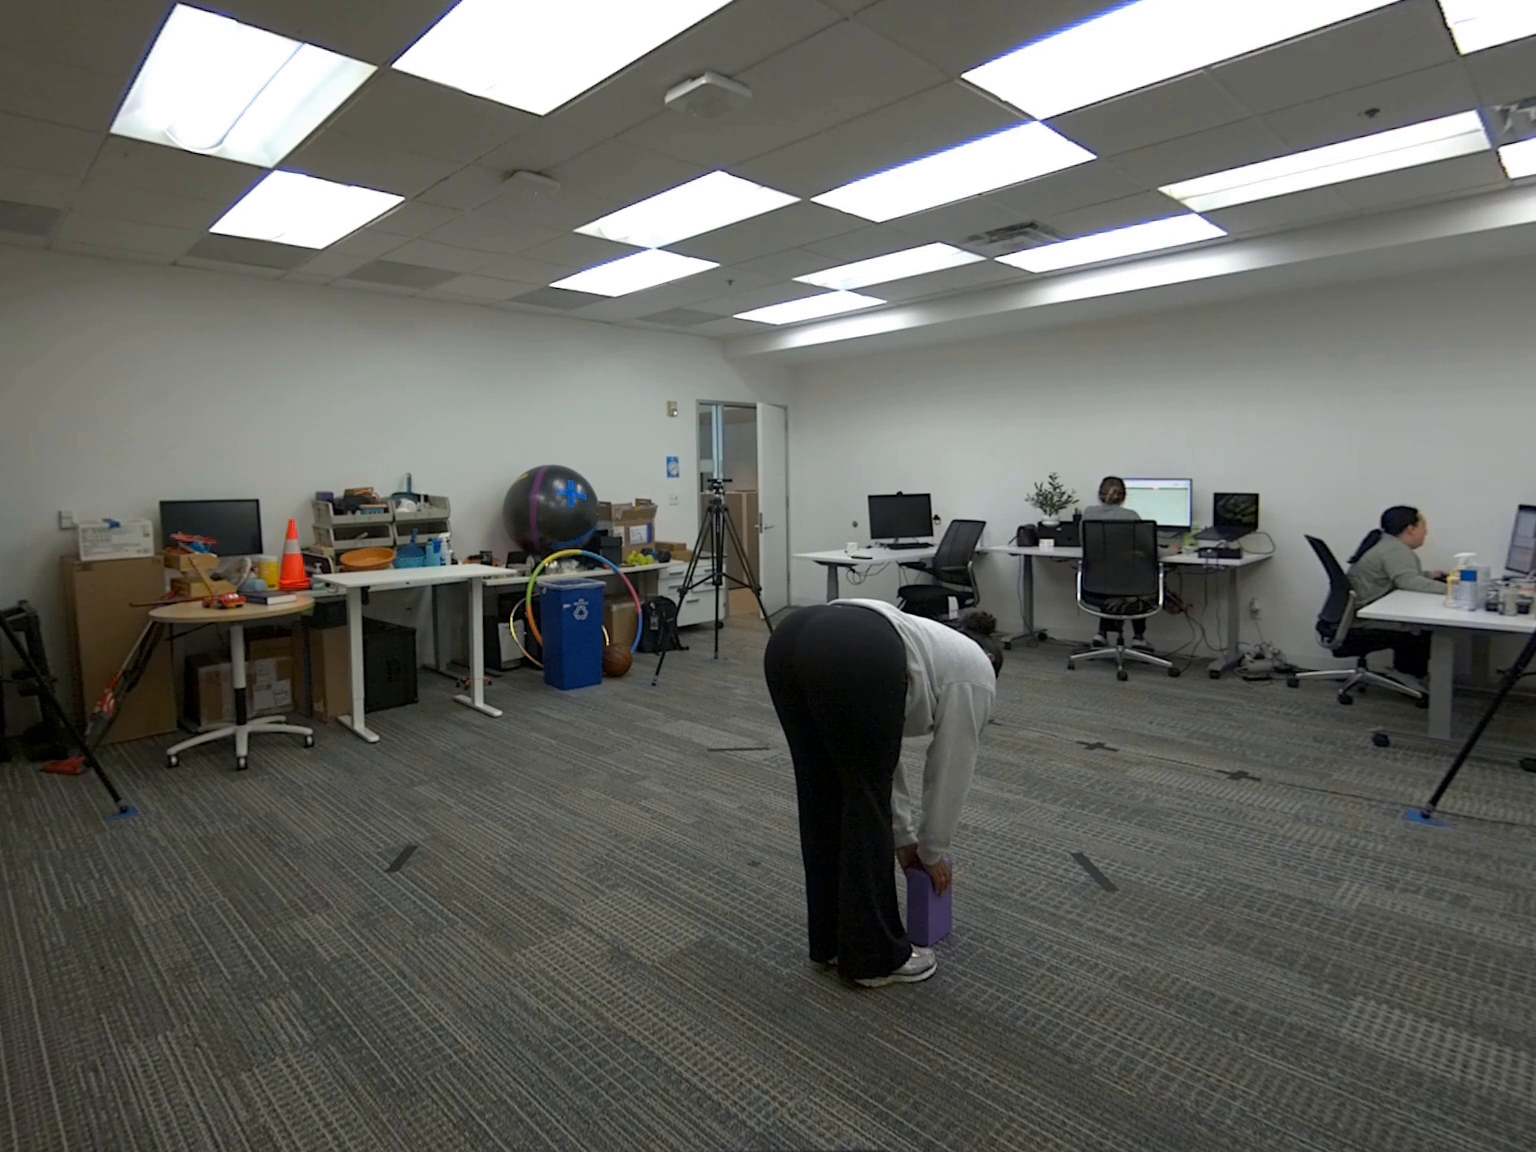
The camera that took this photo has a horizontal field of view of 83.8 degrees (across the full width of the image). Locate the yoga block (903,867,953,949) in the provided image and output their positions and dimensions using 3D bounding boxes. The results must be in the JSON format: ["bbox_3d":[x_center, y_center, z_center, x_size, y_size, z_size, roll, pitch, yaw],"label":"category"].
[{"bbox_3d":[0.495,0.980,2.582,0.079,0.228,0.145,3,5,44],"label":"yoga block"}]
